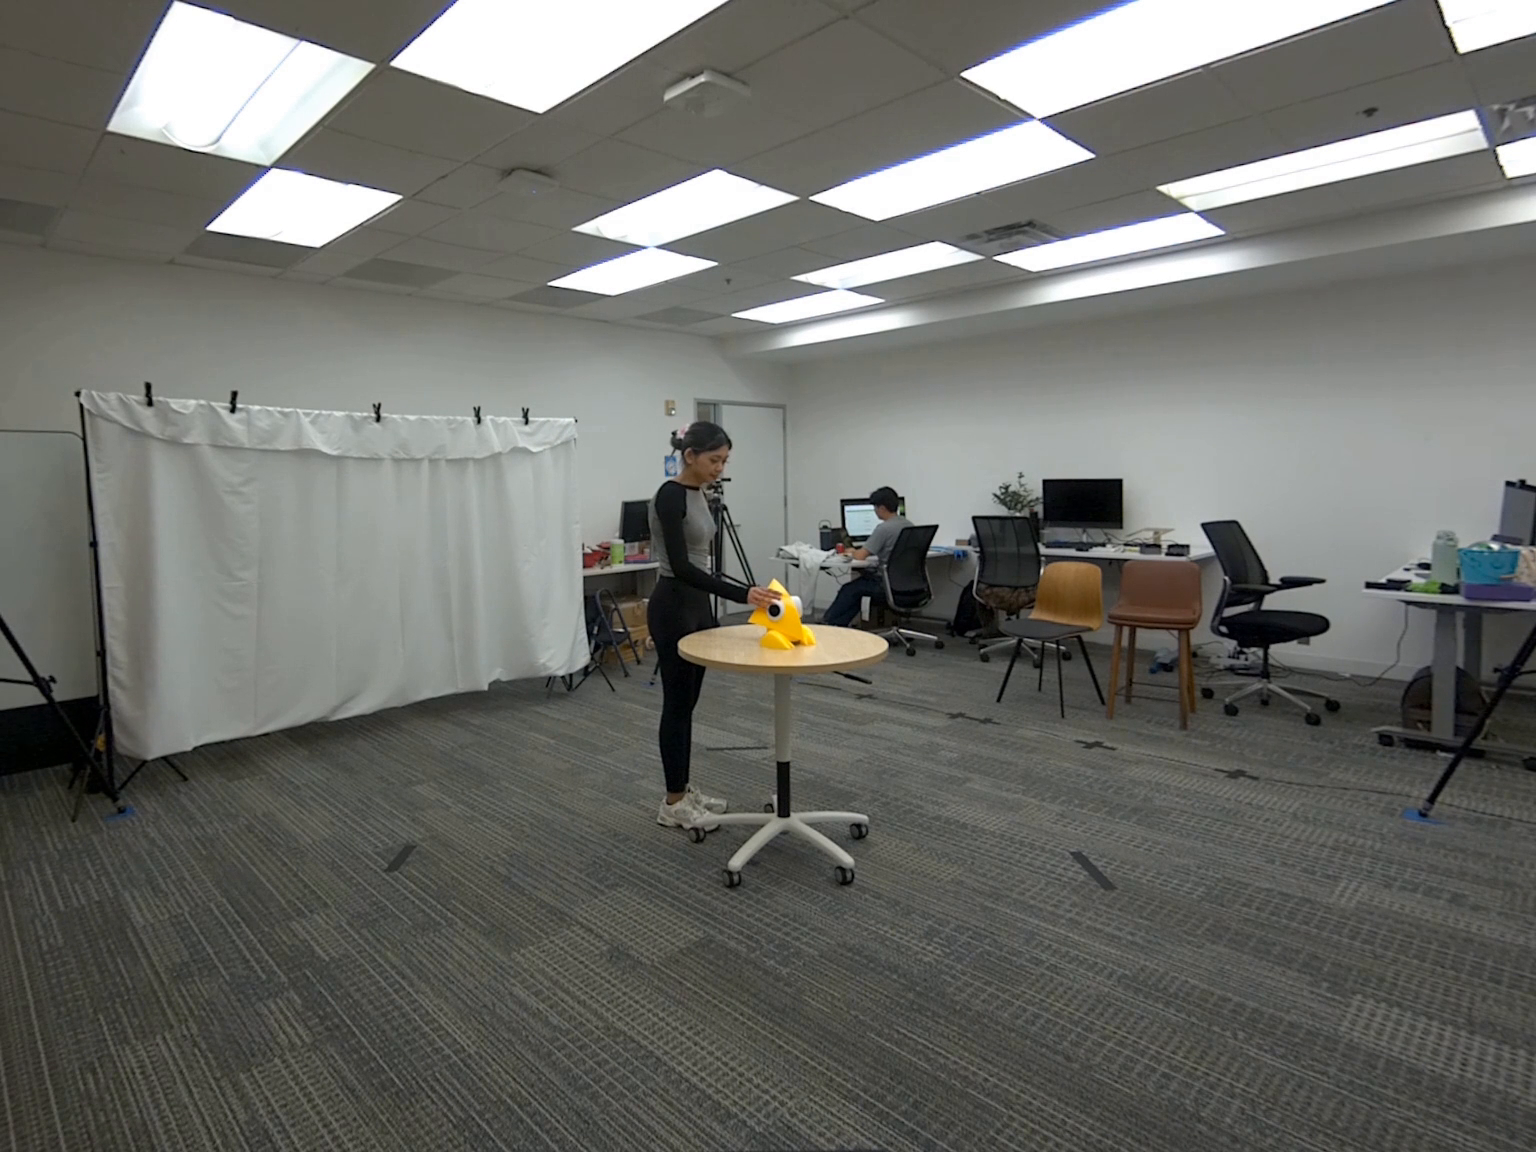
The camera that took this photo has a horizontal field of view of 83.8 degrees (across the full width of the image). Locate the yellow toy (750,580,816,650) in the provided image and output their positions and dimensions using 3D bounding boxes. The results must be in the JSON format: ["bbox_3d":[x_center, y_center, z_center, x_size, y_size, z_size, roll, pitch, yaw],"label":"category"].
[{"bbox_3d":[0.070,0.132,3.110,0.199,0.230,0.199,-4,7,-40],"label":"yellow toy"}]
